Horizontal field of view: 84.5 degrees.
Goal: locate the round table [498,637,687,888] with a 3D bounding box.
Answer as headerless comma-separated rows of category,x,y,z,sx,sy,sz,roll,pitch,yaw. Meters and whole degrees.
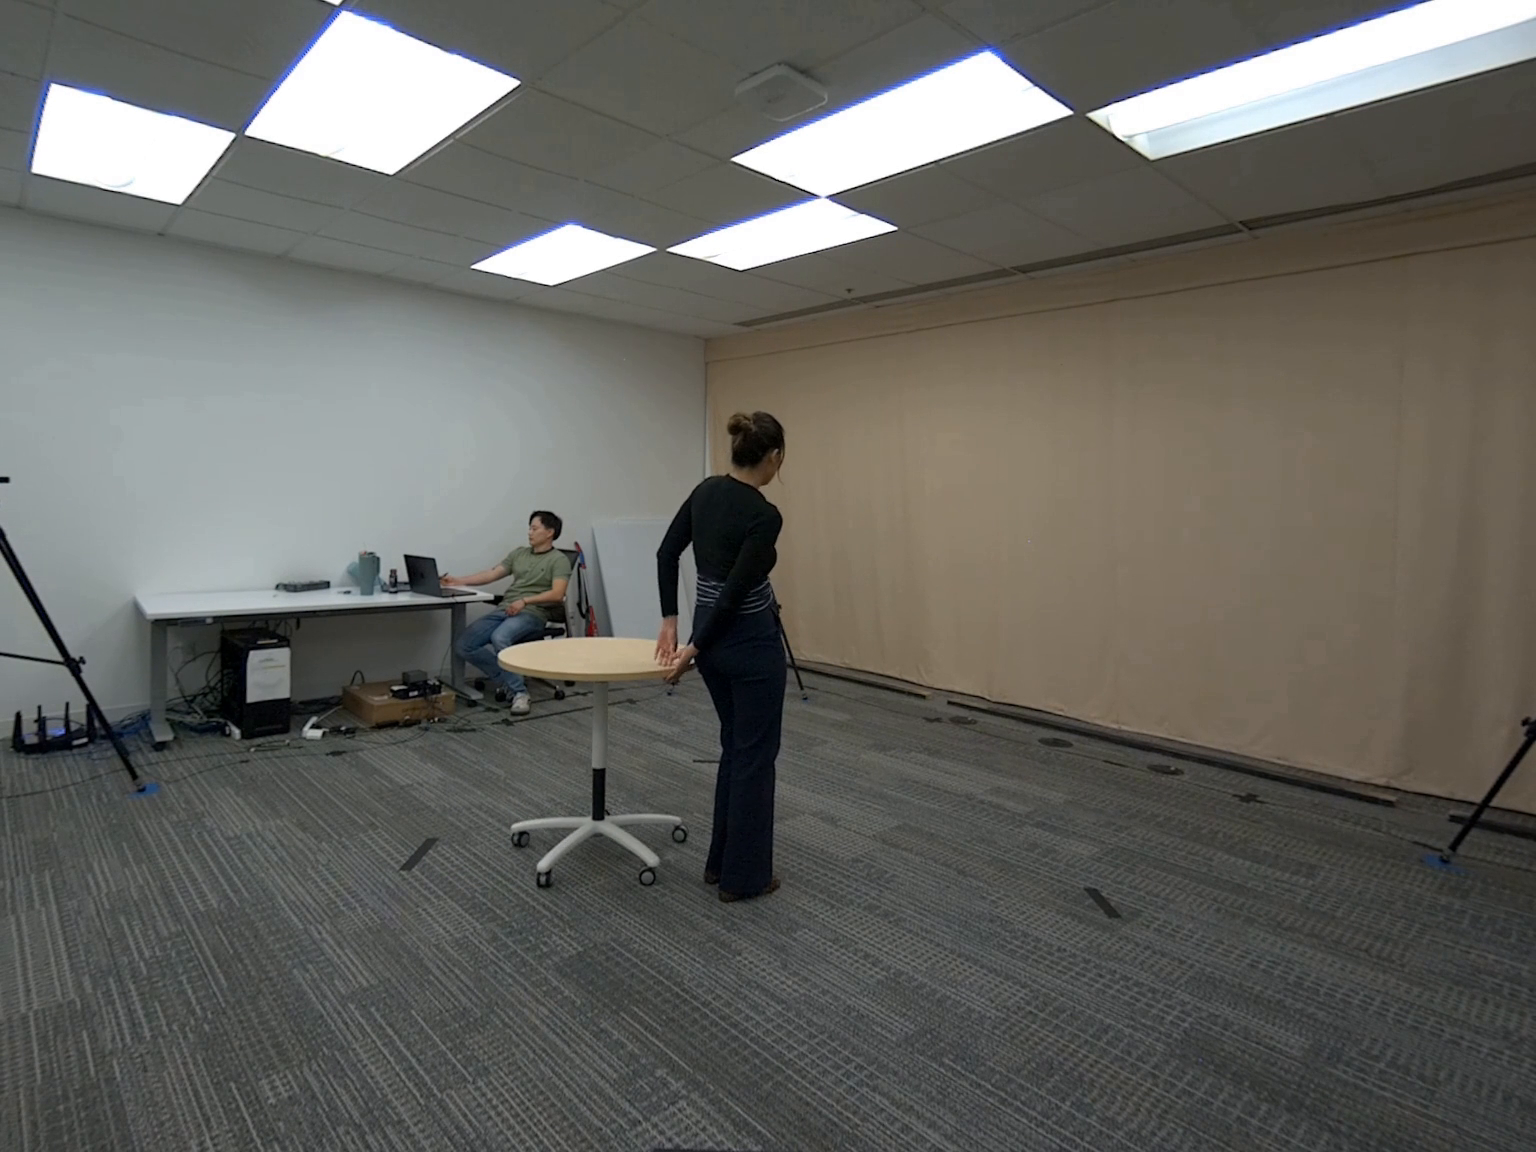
round table,-0.656,0.691,3.240,0.763,0.792,0.766,1,4,-1
